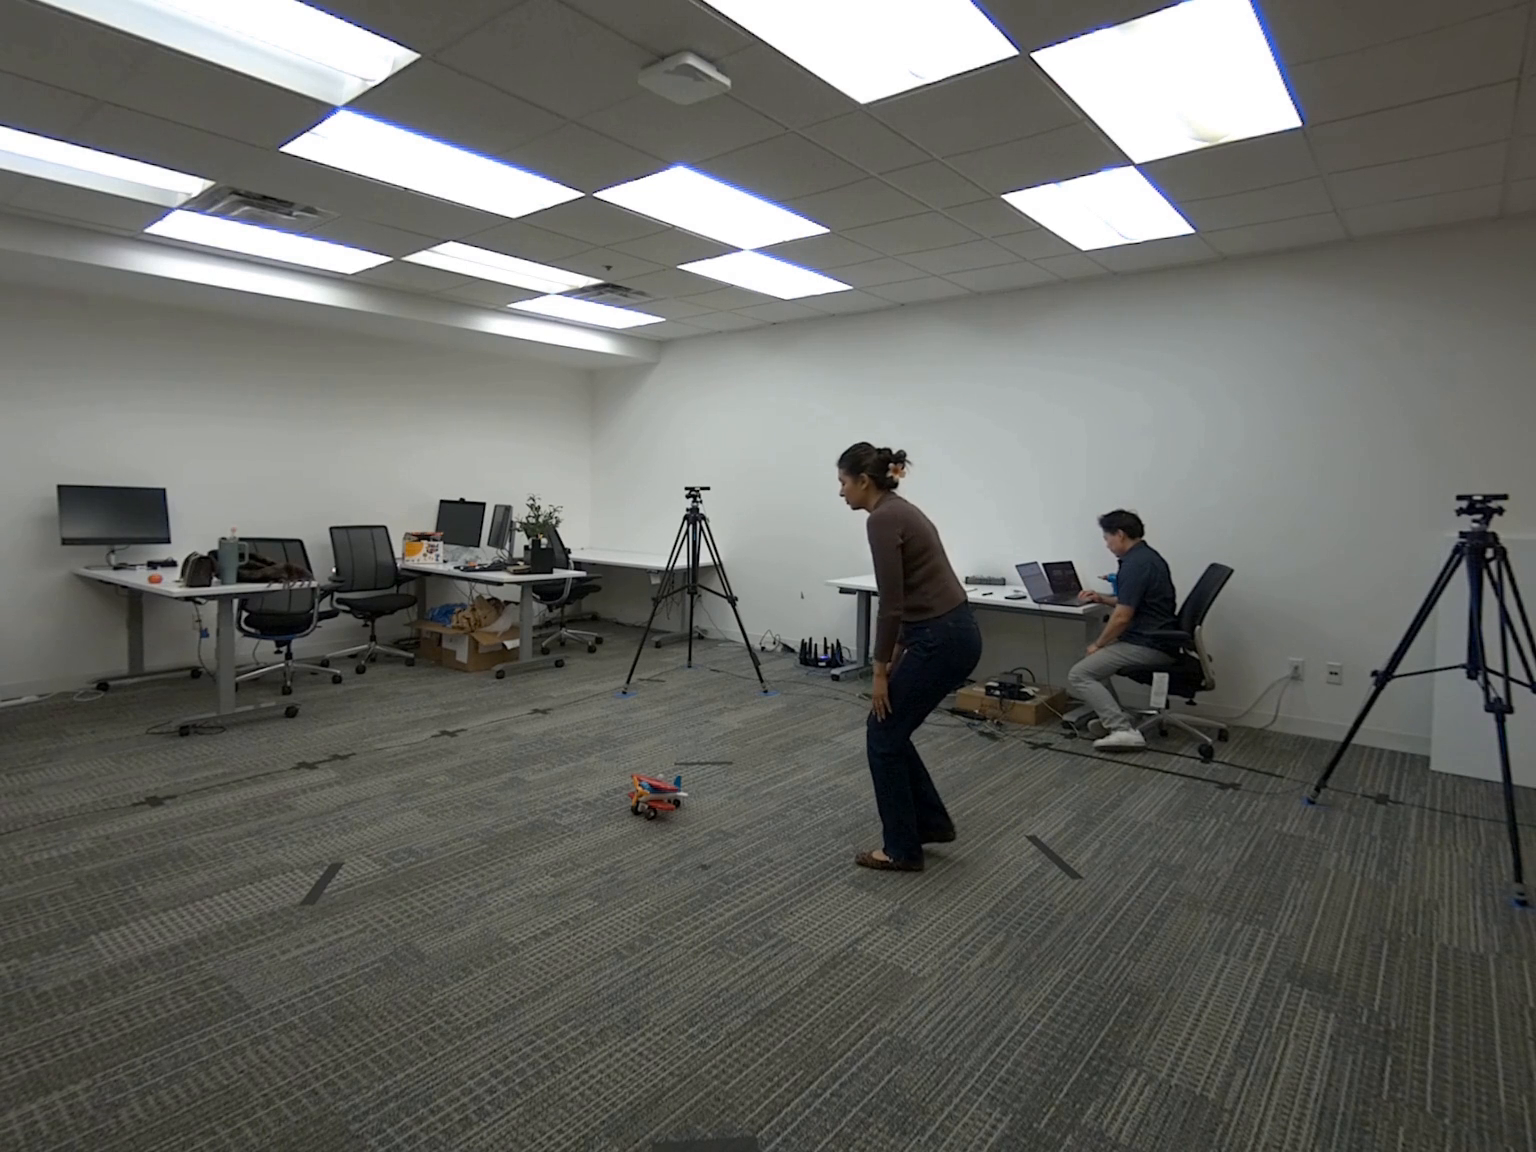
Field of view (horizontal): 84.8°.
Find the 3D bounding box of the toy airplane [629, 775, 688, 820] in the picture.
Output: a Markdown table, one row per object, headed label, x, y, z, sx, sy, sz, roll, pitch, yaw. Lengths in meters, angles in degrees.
| label | x | y | z | sx | sy | sz | roll | pitch | yaw |
| --- | --- | --- | --- | --- | --- | --- | --- | --- | --- |
| toy airplane | -0.493 | 0.933 | 3.657 | 0.255 | 0.155 | 0.257 | 0 | 7 | 13 |
